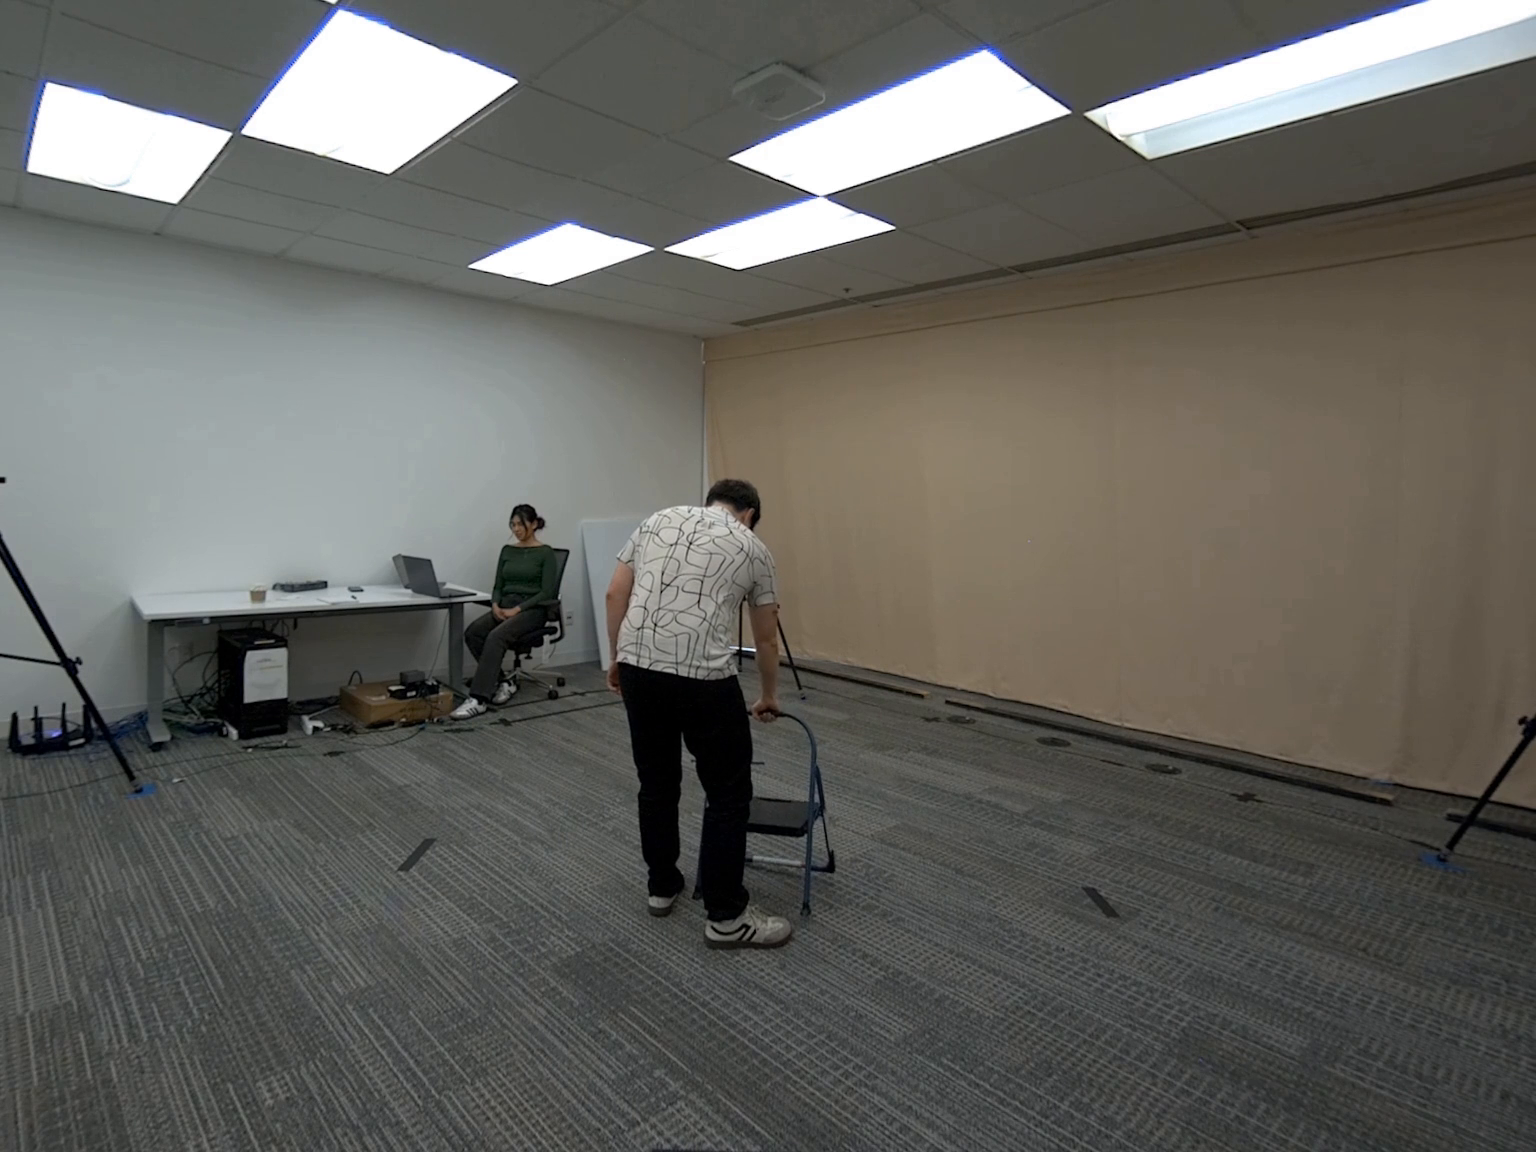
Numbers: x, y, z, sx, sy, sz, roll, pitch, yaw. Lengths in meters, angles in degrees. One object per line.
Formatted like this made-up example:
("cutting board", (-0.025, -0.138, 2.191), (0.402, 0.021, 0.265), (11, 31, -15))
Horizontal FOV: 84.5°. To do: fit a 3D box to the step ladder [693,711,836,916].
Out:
("step ladder", (-0.023, 0.793, 2.973), (0.438, 0.605, 0.344), (-1, 3, 22))
